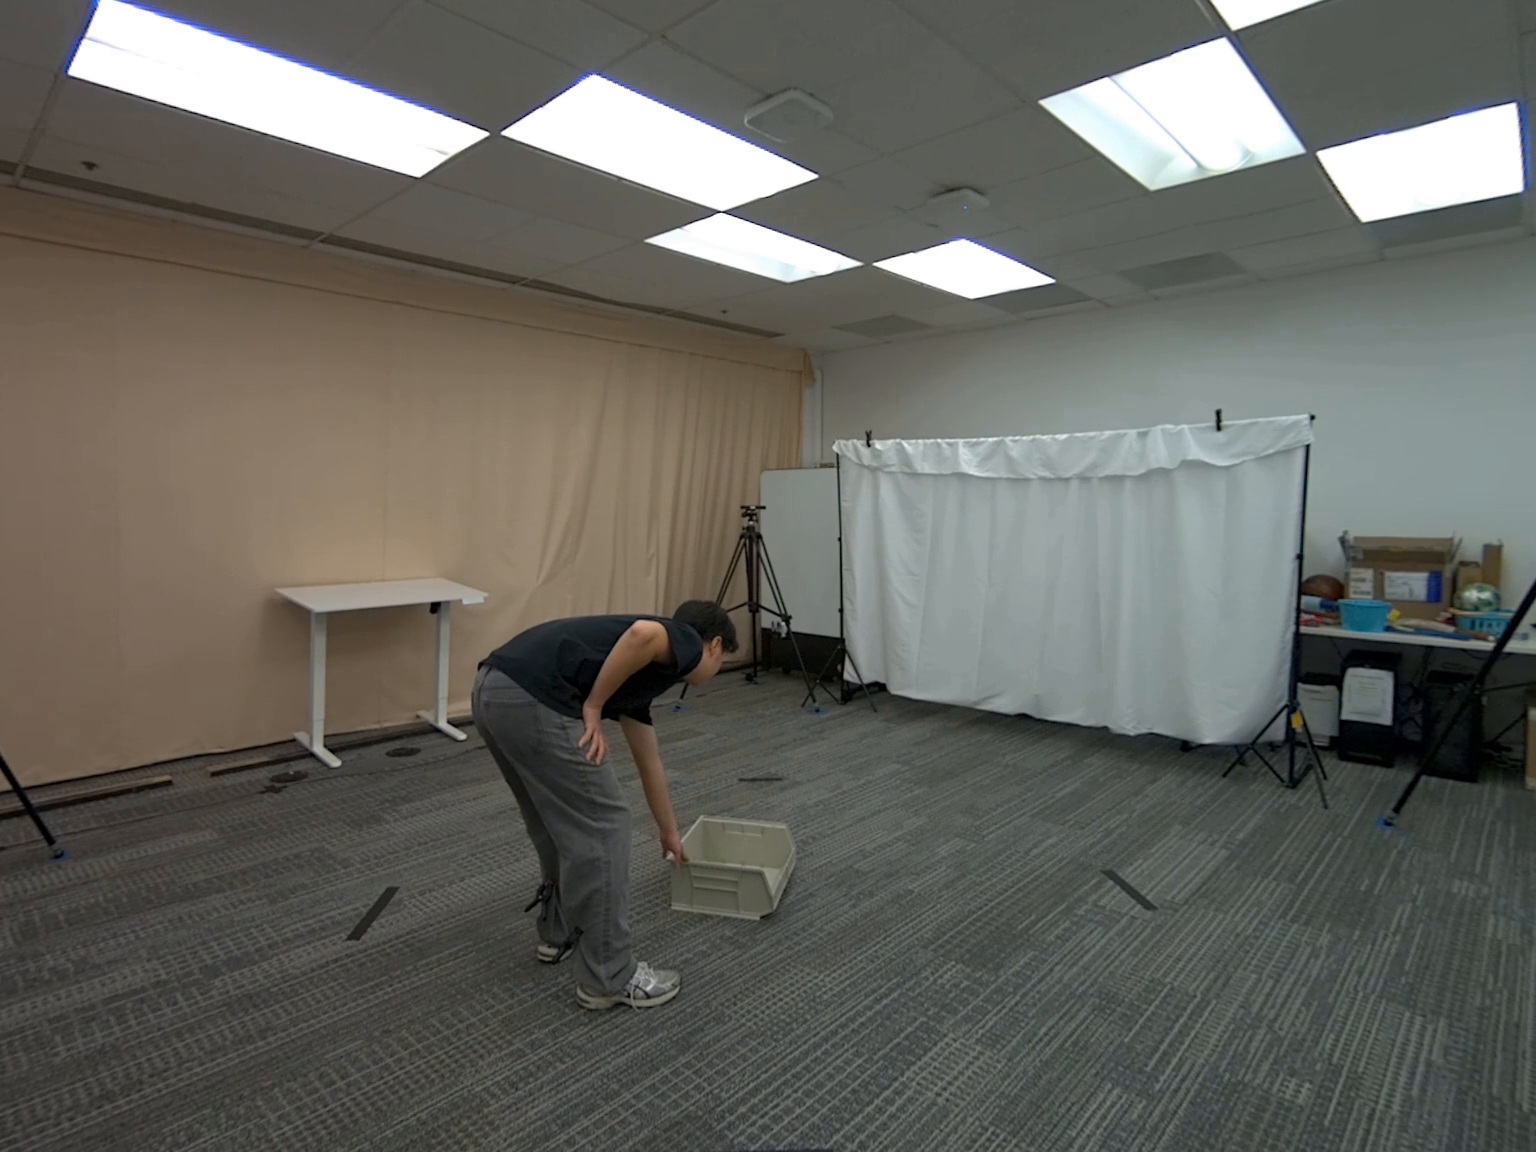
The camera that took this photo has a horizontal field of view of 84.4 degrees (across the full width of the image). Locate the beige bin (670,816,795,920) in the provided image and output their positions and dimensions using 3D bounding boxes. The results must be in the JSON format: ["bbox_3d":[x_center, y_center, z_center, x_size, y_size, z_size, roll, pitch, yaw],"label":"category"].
[{"bbox_3d":[-0.118,1.050,3.052,0.383,0.188,0.417,0,5,13],"label":"beige bin"}]
